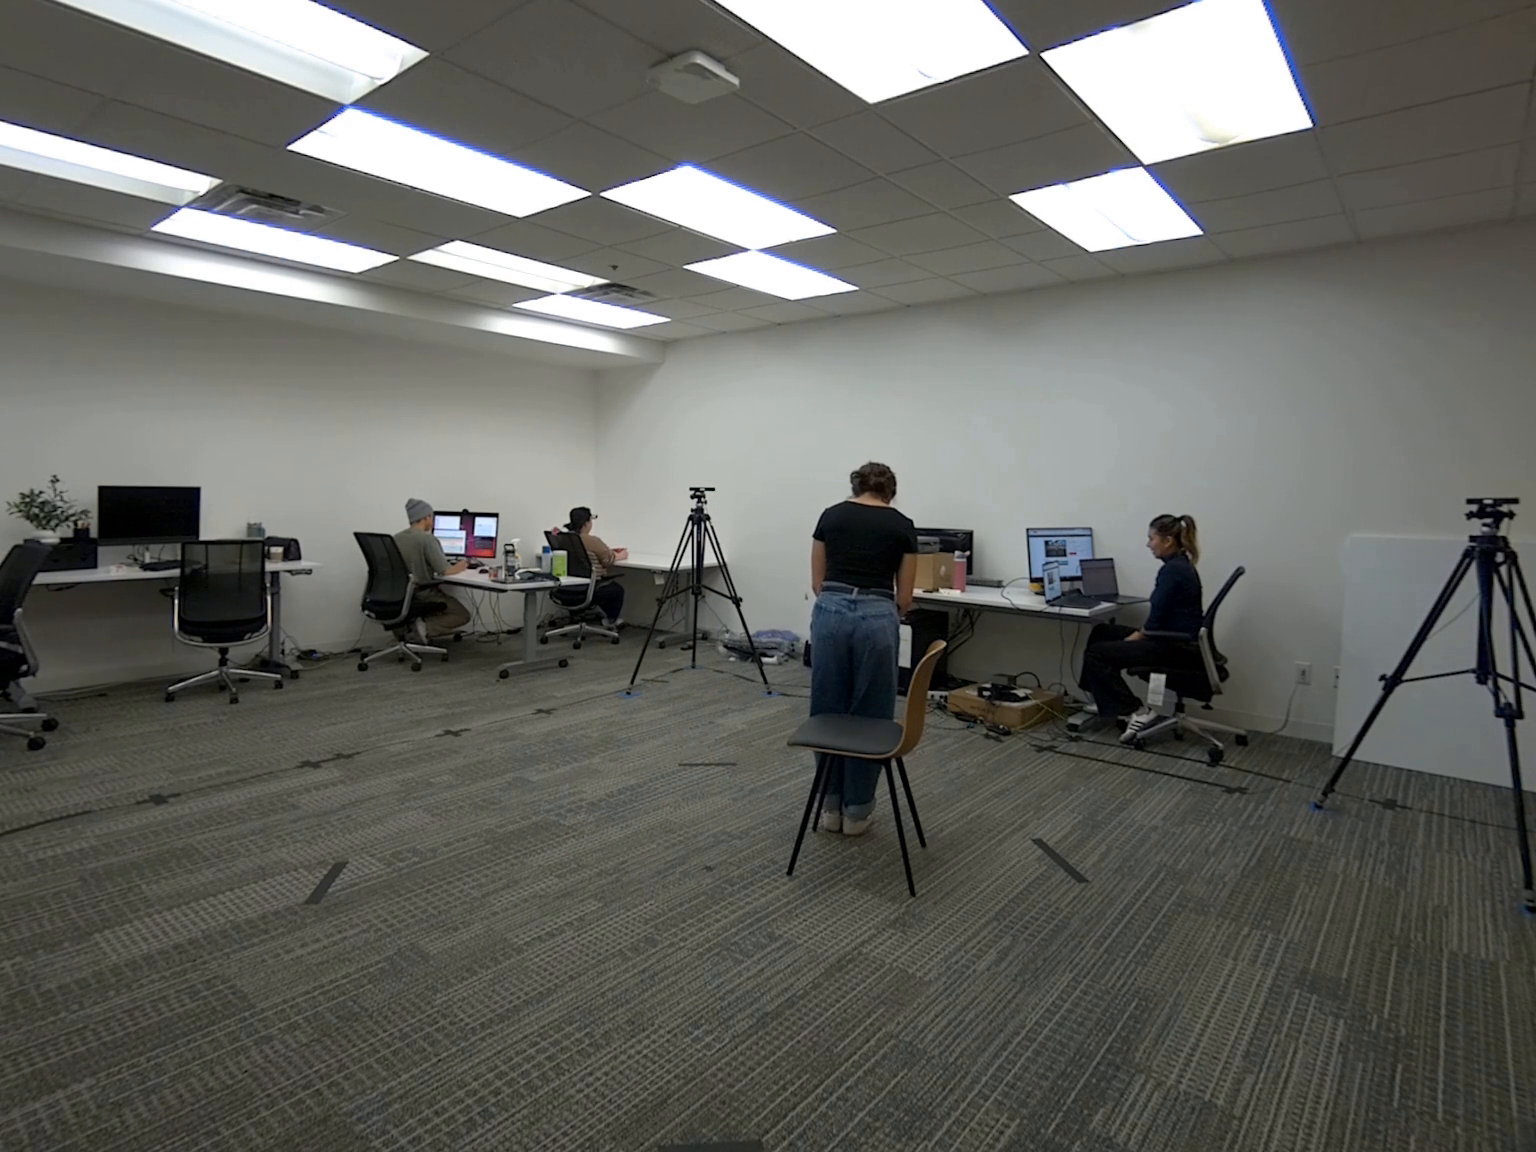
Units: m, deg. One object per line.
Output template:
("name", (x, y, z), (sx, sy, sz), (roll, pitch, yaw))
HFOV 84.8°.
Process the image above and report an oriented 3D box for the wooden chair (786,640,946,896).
("wooden chair", (0.340, 0.645, 3.173), (0.533, 0.874, 0.471), (7, 4, 16))
